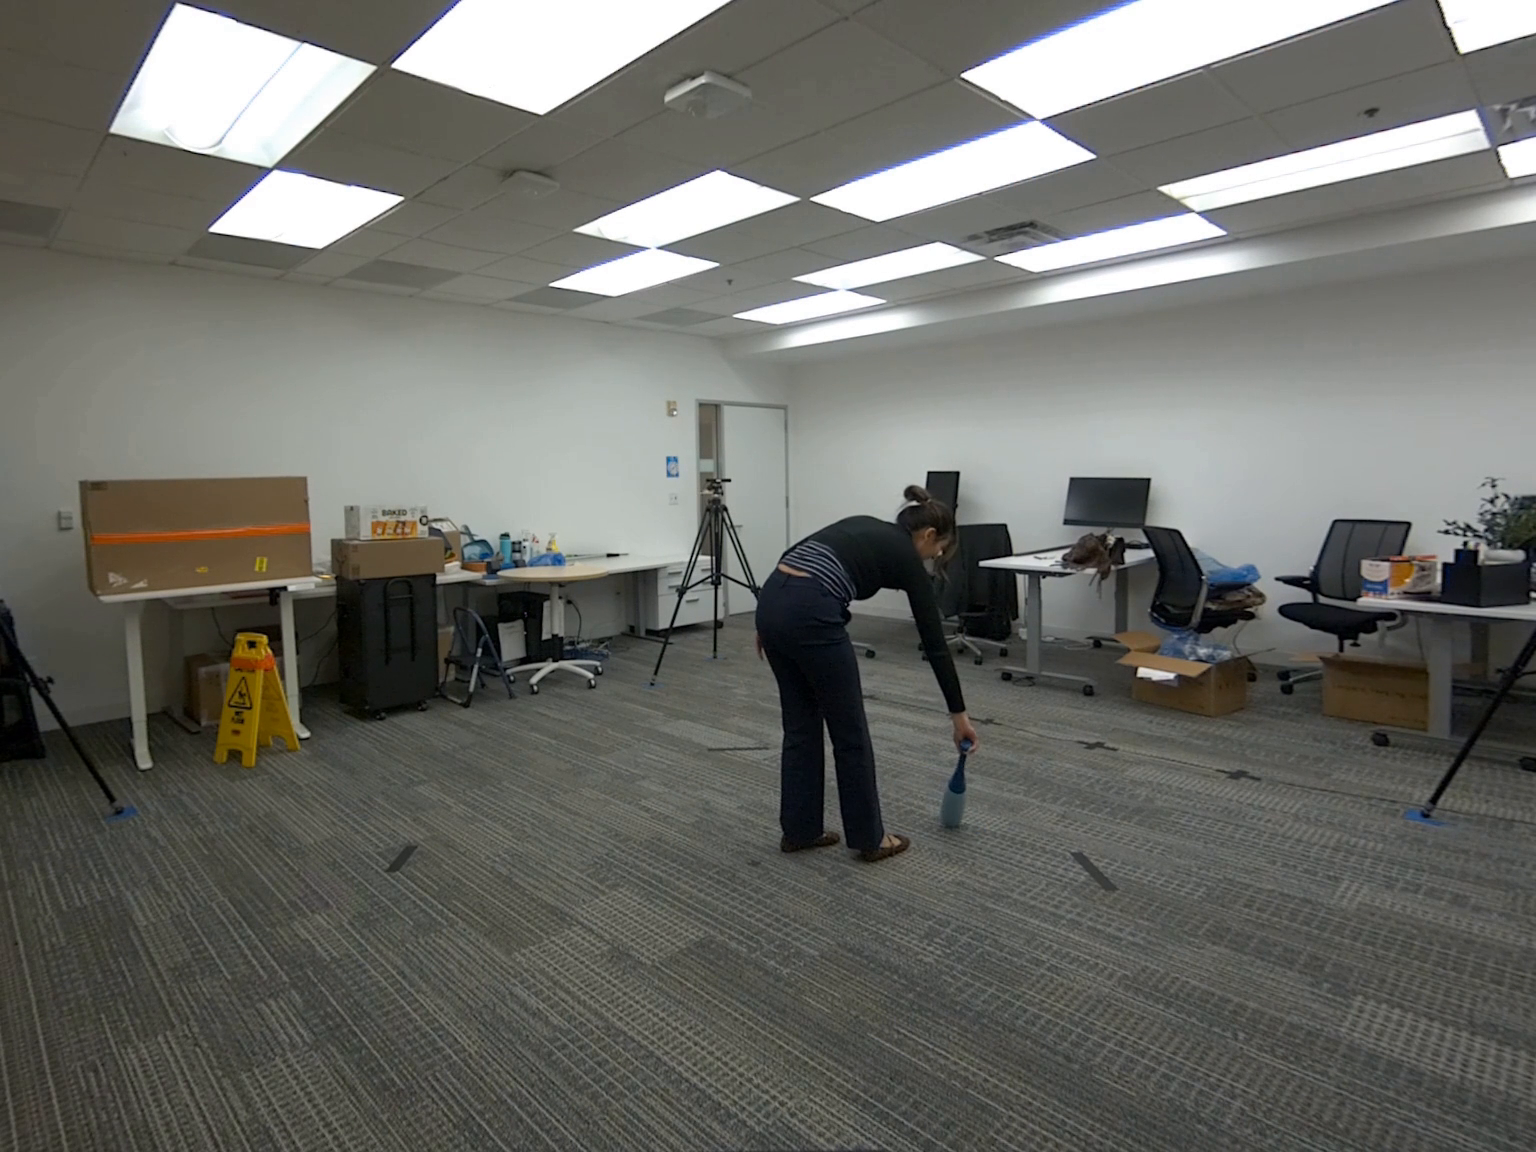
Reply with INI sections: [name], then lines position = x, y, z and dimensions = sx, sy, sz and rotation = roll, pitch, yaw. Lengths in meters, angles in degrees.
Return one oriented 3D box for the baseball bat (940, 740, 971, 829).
[baseball bat]
position = 0.721, 0.785, 3.247
dimensions = 0.089, 0.528, 0.091
rotation = -2, 43, 0
